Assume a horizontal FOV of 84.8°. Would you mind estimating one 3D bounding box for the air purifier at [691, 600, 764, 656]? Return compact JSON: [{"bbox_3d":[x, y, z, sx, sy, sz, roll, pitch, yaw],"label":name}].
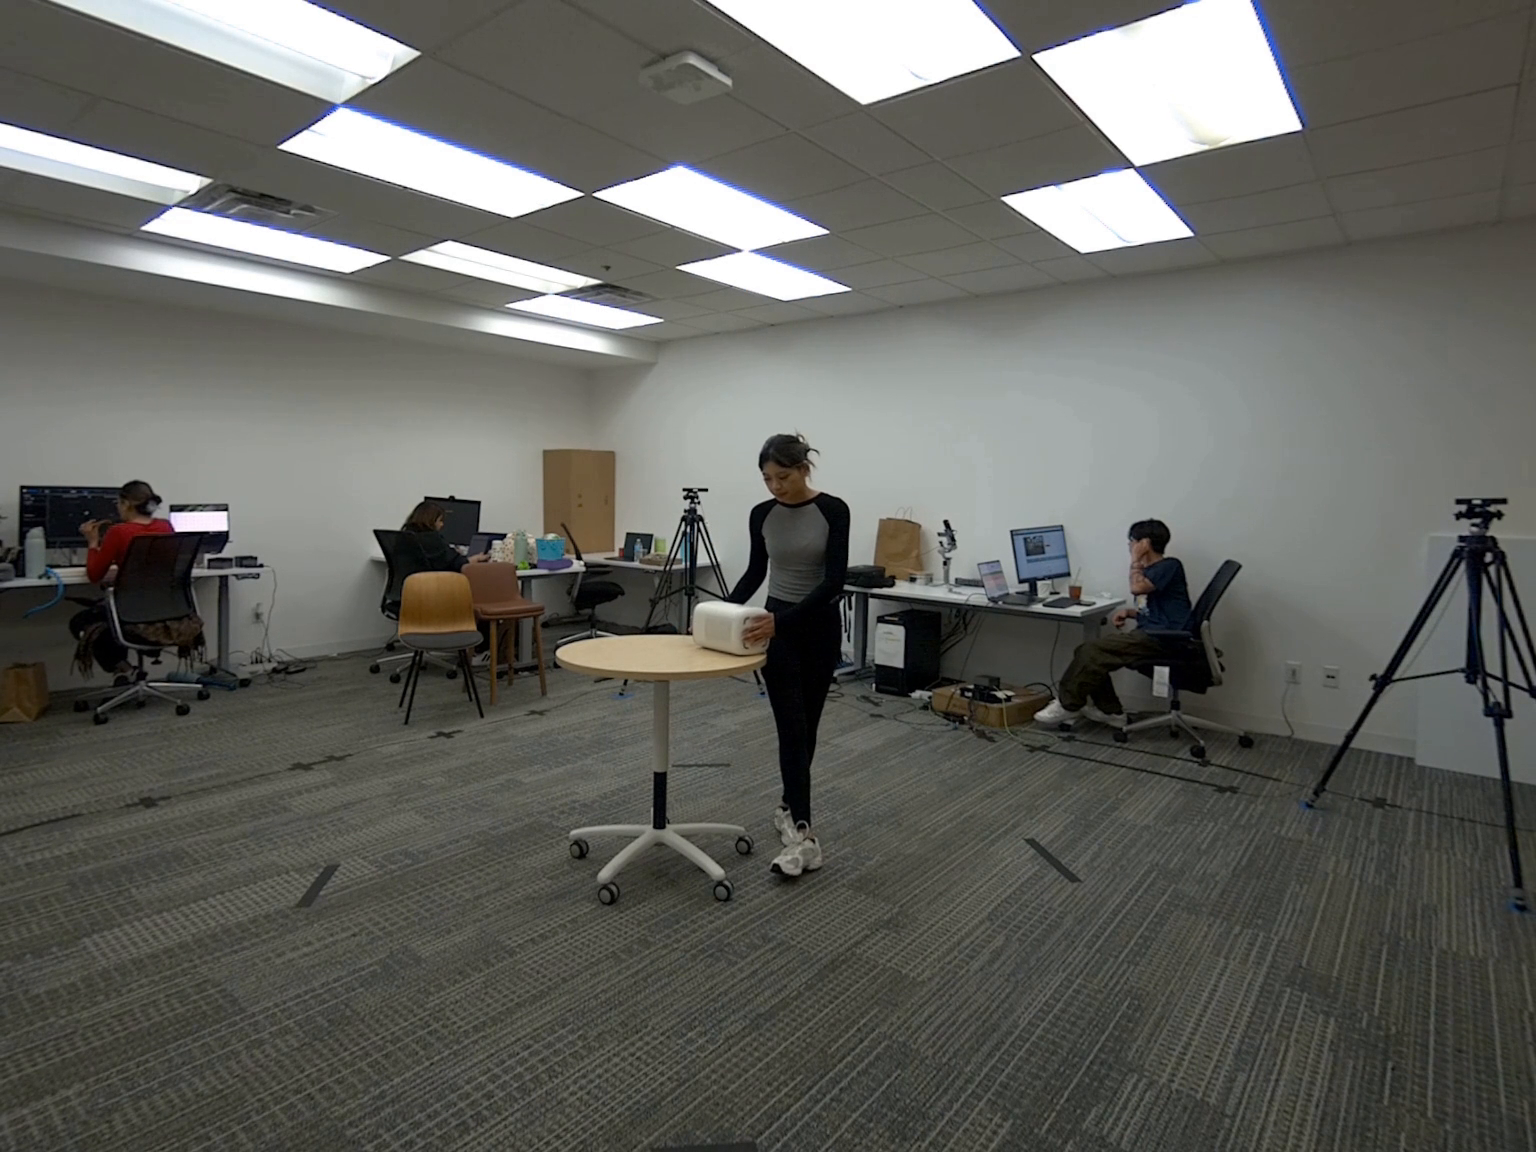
[{"bbox_3d":[-0.147,0.188,3.132,0.166,0.171,0.274,-1,4,-40],"label":"air purifier"}]
